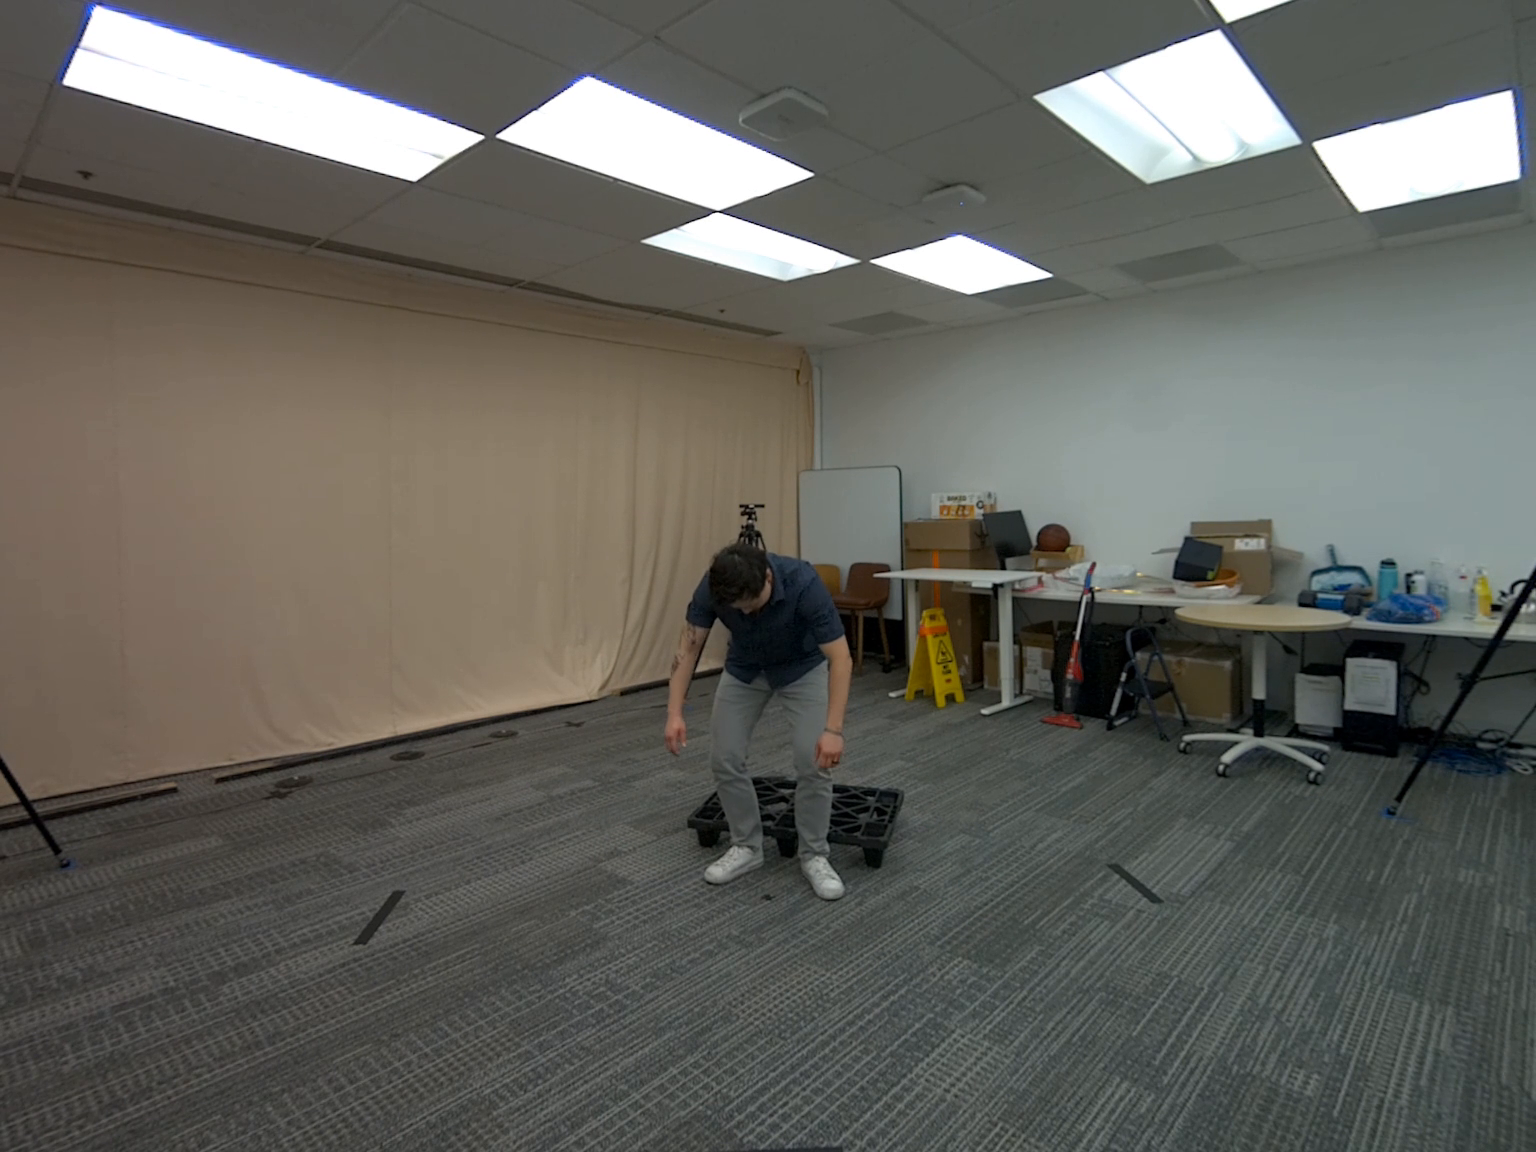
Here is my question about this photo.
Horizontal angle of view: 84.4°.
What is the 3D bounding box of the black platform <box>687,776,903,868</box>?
[{"bbox_3d":[0.141,1.022,3.530,0.821,0.143,0.595,0,5,17],"label":"black platform"}]
